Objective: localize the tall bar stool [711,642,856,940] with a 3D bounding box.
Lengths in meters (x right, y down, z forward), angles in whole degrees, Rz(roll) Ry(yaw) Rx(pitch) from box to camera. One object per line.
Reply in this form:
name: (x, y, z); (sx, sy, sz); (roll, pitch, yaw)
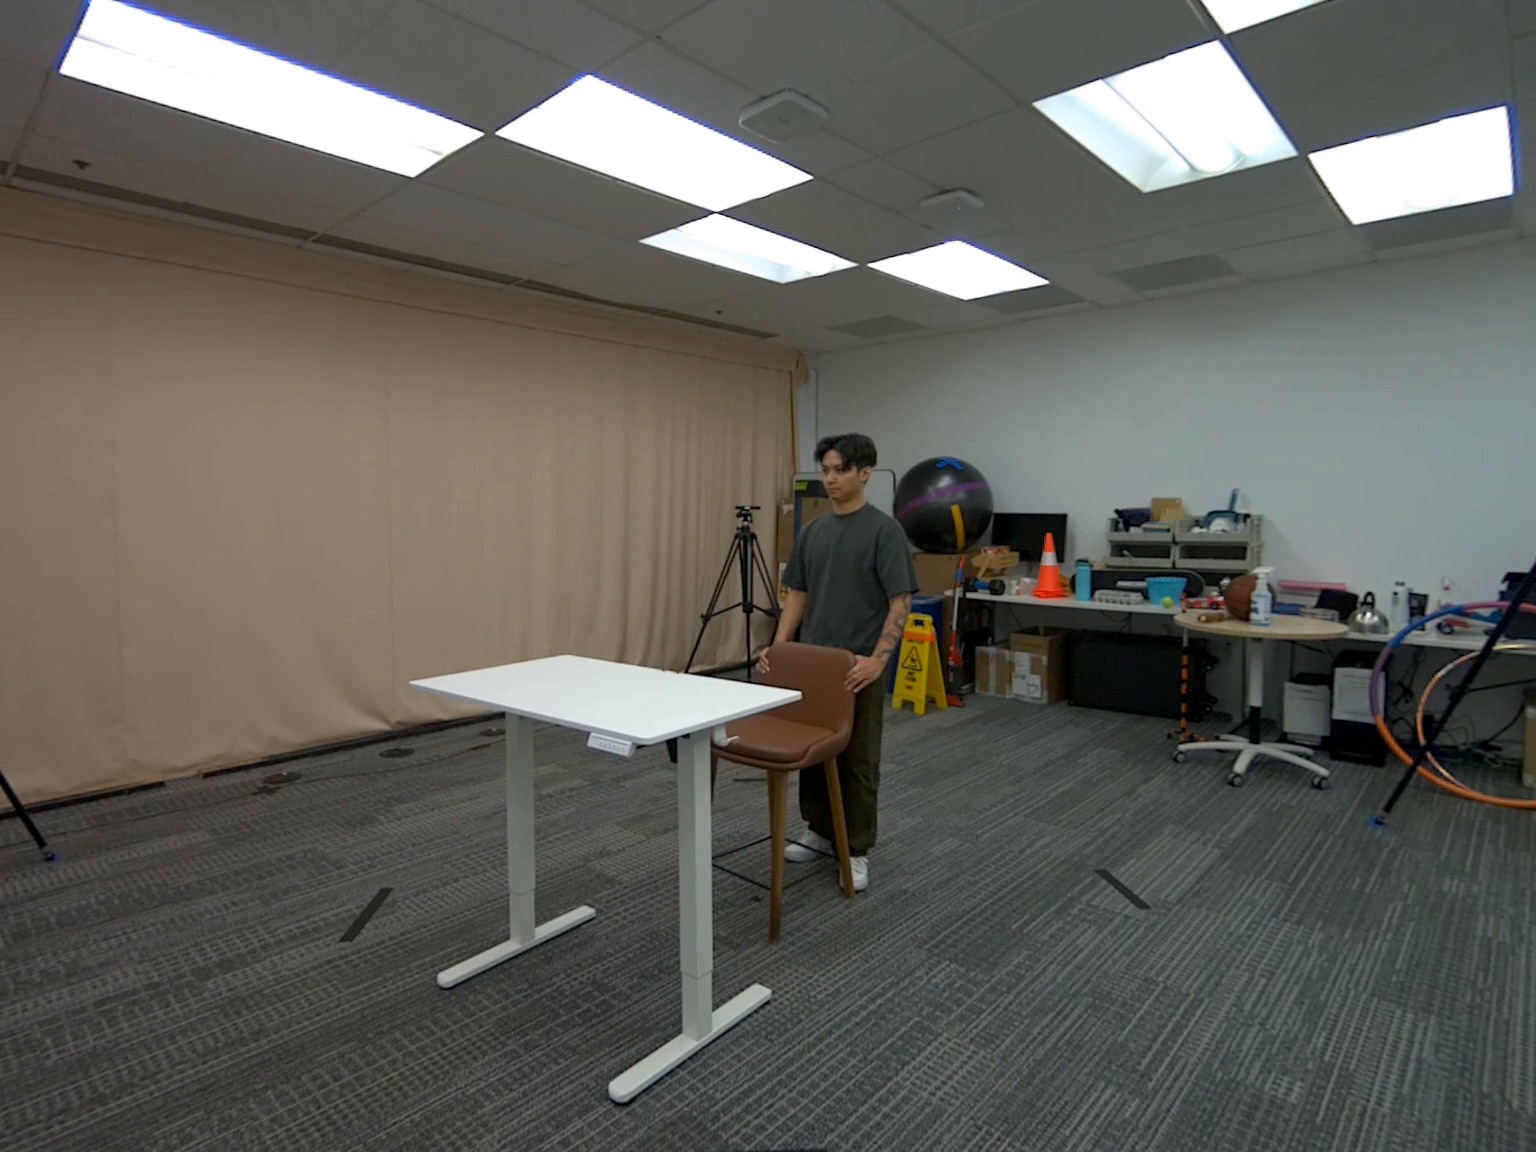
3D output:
tall bar stool: (0.029, 0.710, 2.959); (0.472, 0.888, 0.453); (4, 3, 44)
